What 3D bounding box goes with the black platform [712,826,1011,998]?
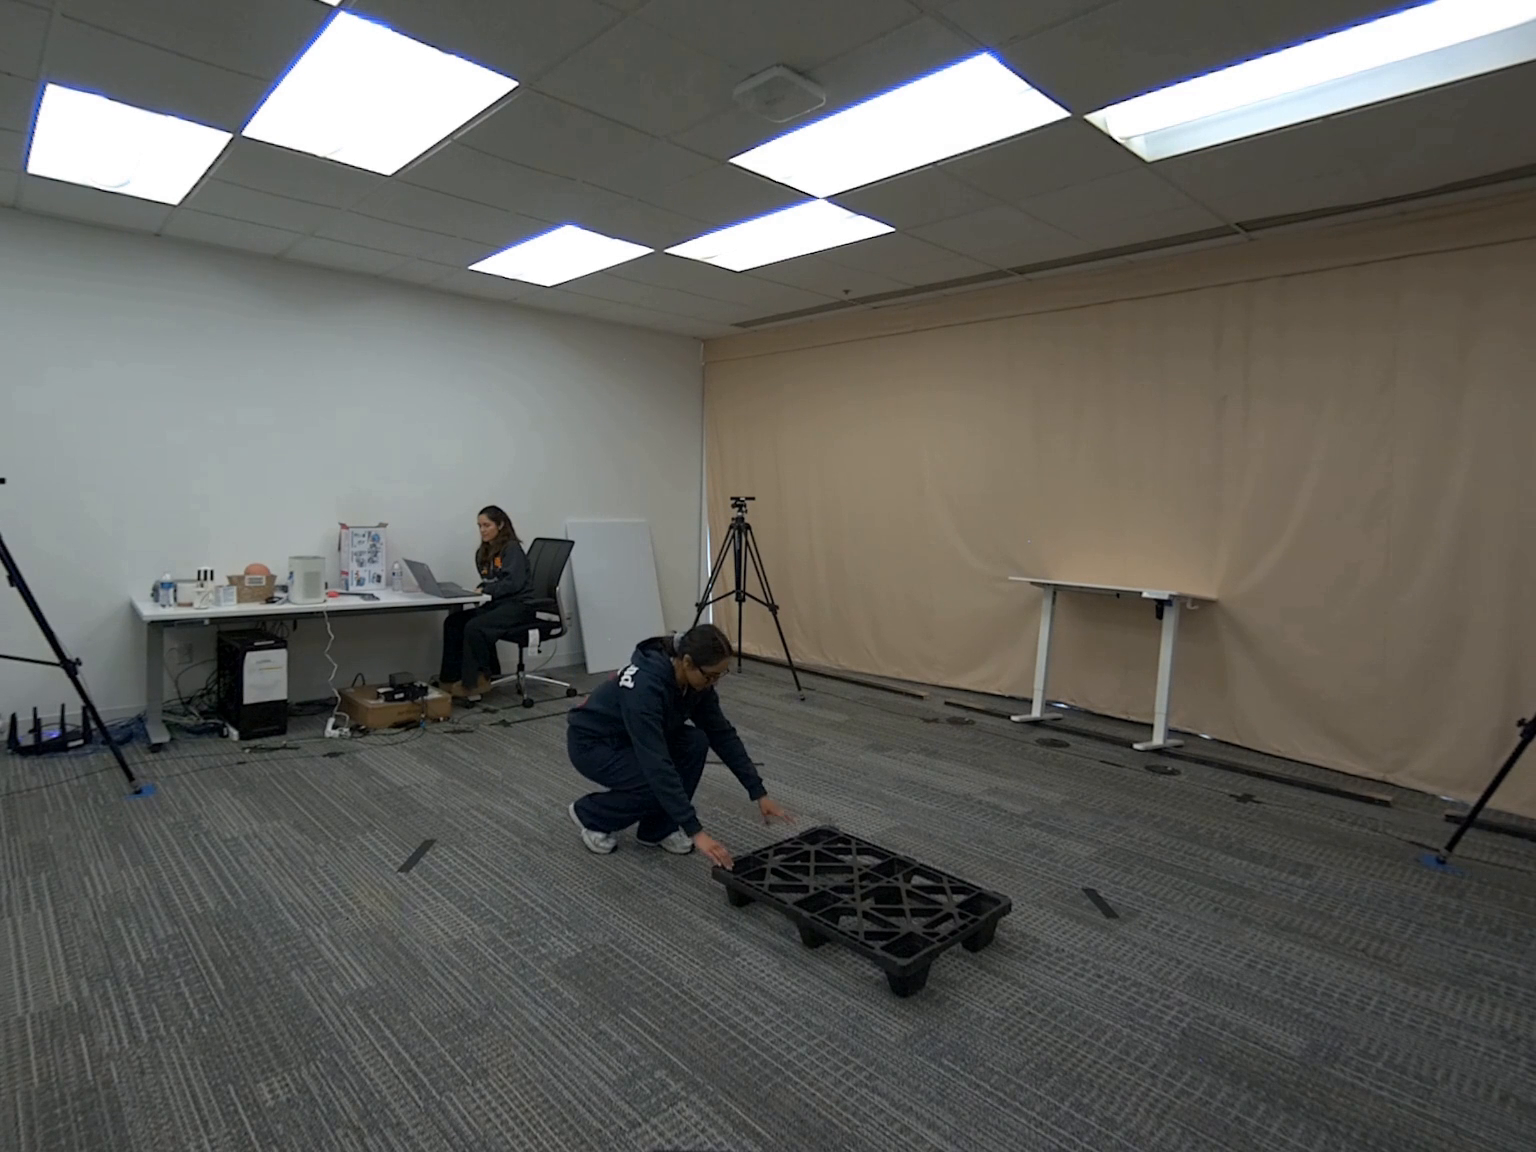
[{"bbox_3d":[0.285,1.079,2.789,0.591,0.143,0.827,-3,7,-44],"label":"black platform"}]
